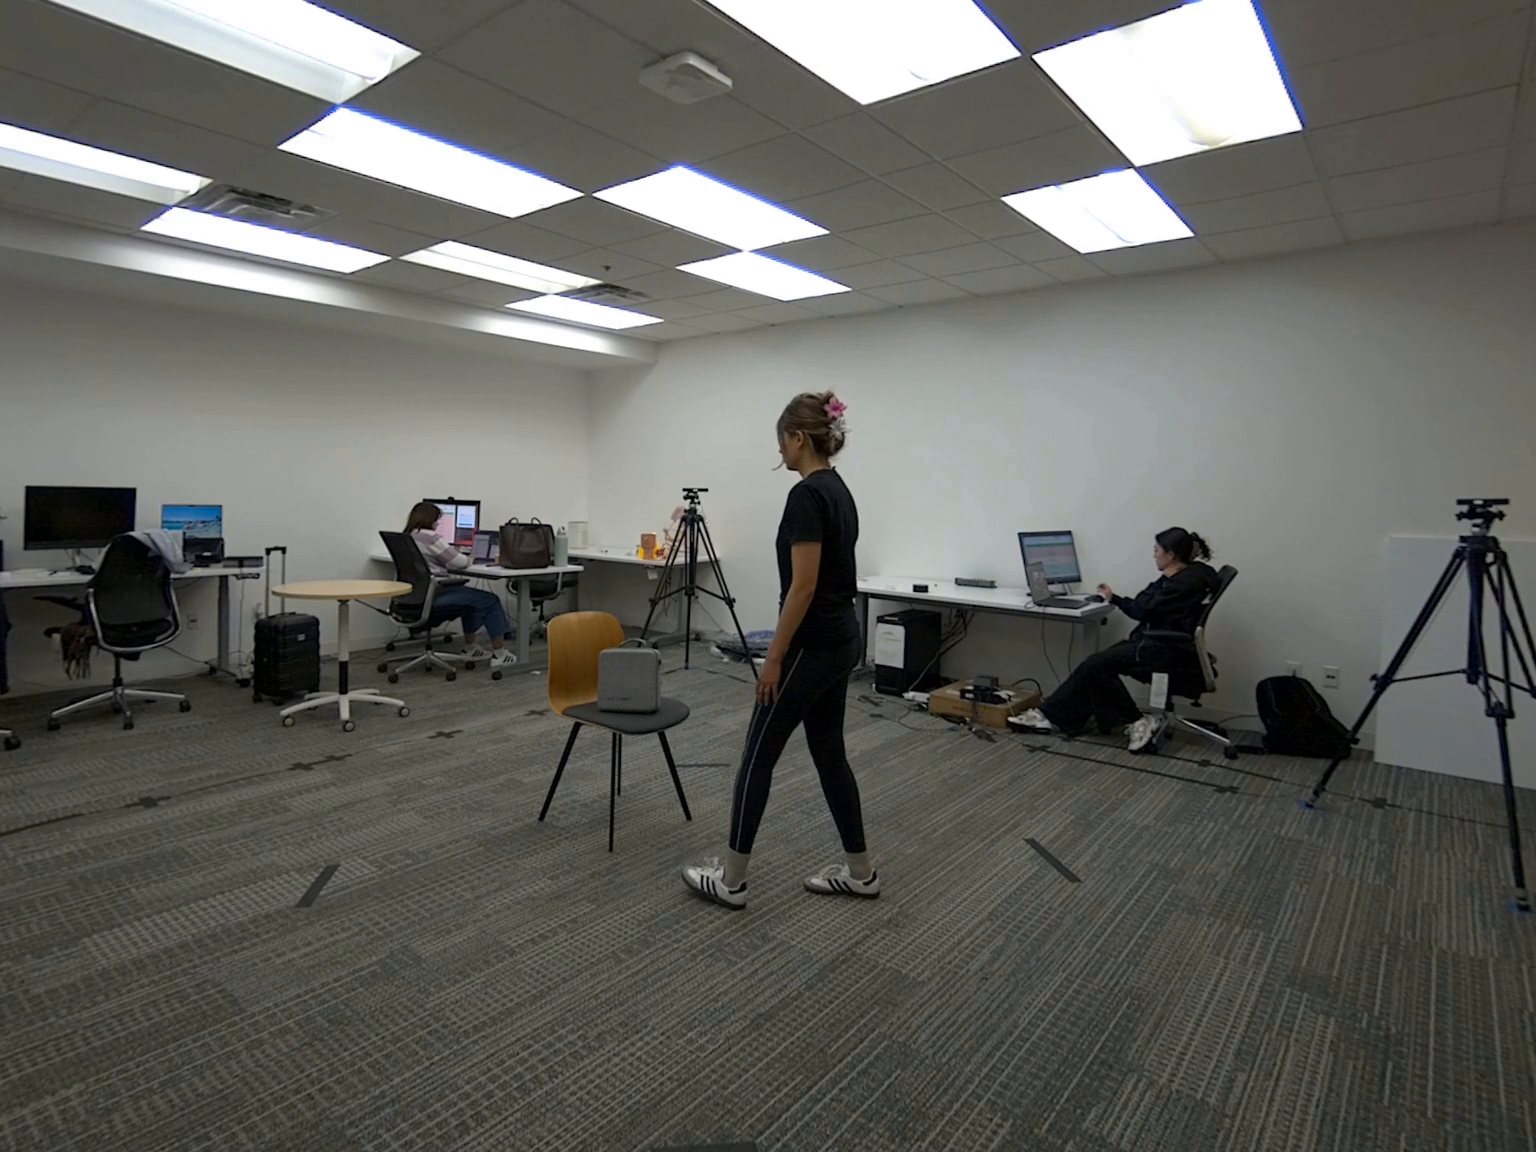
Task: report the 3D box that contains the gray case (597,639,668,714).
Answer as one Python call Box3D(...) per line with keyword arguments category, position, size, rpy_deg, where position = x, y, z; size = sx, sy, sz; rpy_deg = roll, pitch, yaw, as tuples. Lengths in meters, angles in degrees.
Box3D(category="gray case", position=(-0.590, 0.419, 3.497), size=(0.261, 0.262, 0.102), rpy_deg=(-1, -6, 15))
